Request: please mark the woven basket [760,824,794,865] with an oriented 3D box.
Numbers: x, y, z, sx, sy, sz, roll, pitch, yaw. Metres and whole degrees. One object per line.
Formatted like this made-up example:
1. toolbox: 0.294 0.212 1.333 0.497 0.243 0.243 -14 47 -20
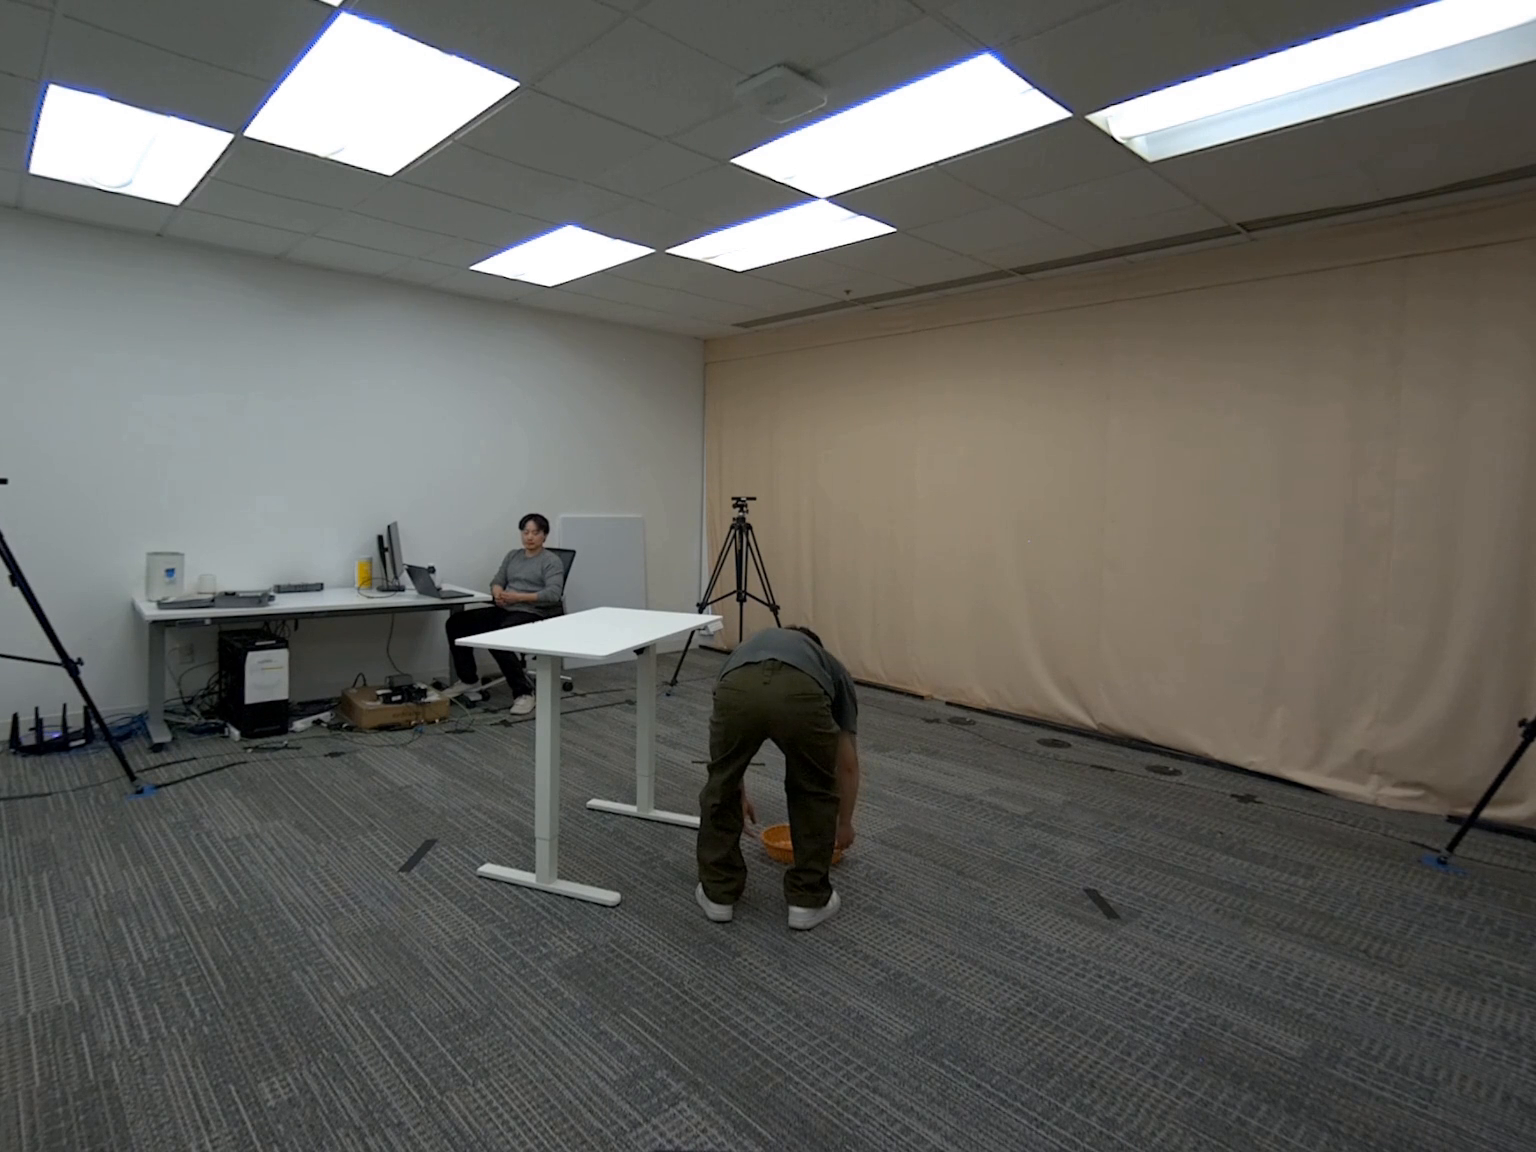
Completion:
1. woven basket: 0.131 1.056 3.299 0.356 0.073 0.249 3 4 18
